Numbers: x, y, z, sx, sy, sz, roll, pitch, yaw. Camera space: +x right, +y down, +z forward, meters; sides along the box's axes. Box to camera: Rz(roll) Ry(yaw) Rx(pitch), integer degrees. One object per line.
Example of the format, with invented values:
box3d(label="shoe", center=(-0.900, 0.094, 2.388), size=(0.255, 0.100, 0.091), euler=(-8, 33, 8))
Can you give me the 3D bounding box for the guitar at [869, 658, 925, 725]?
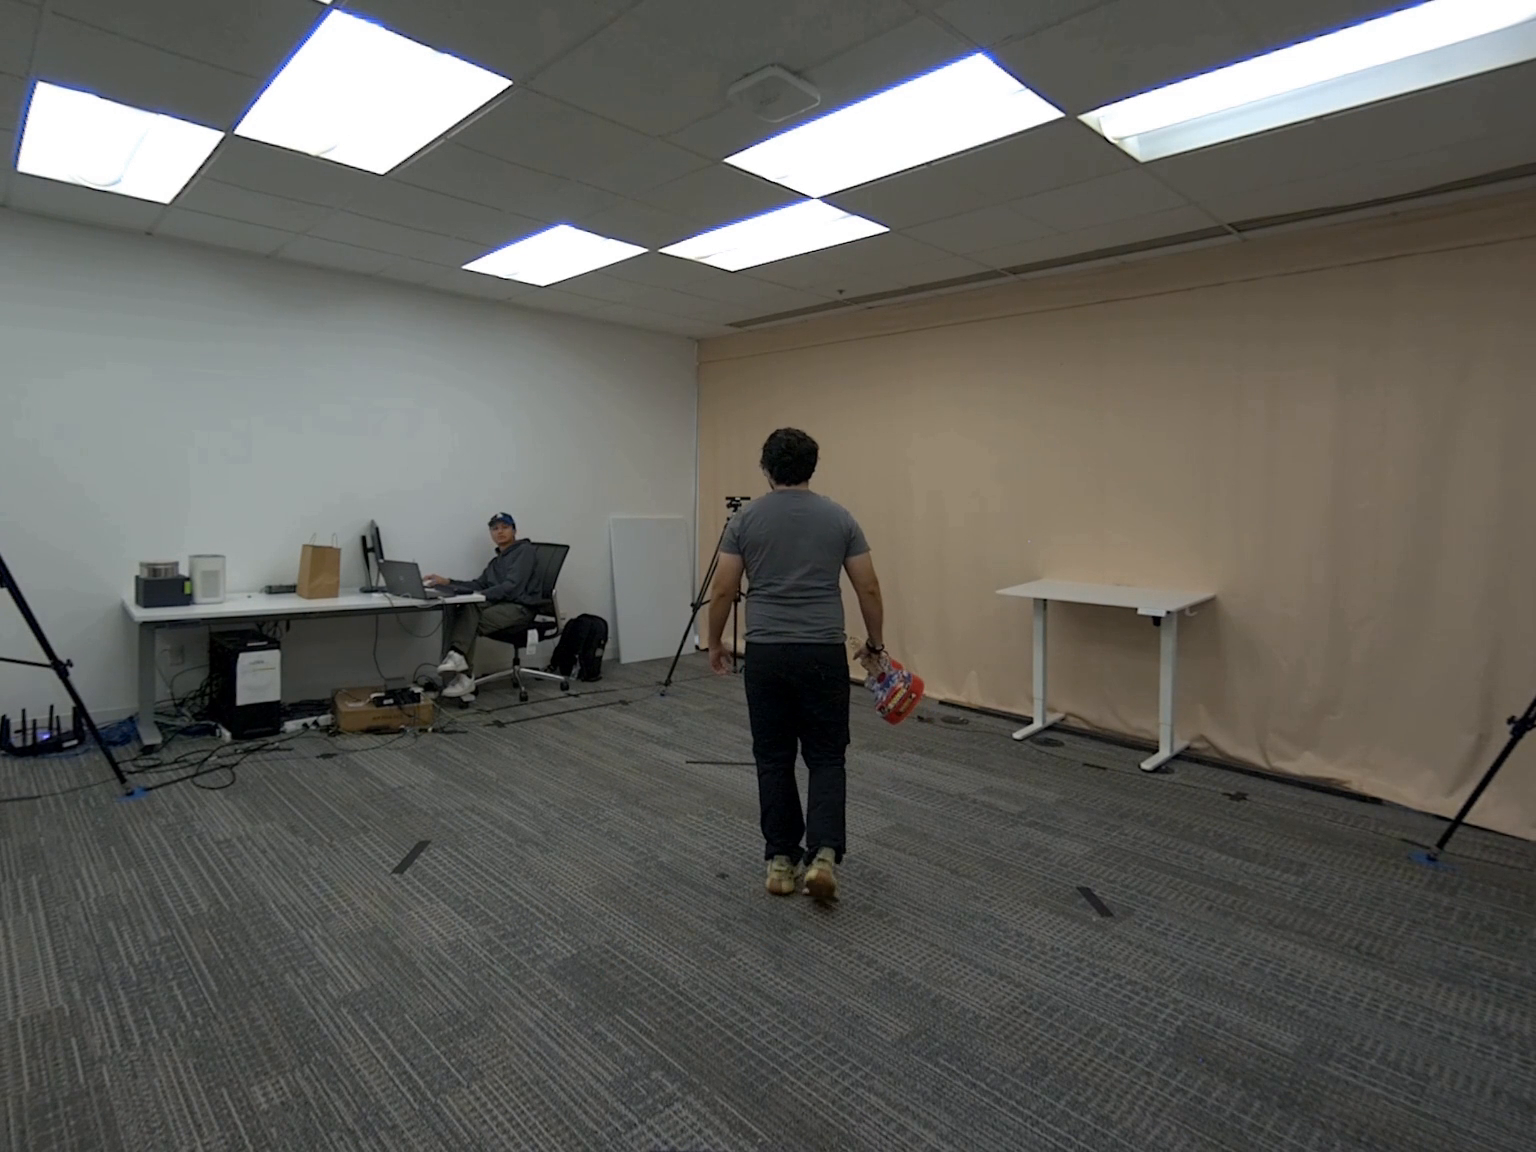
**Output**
box3d(label="guitar", center=(0.423, 0.336, 3.107), size=(0.069, 0.193, 0.509), euler=(31, 20, -23))
